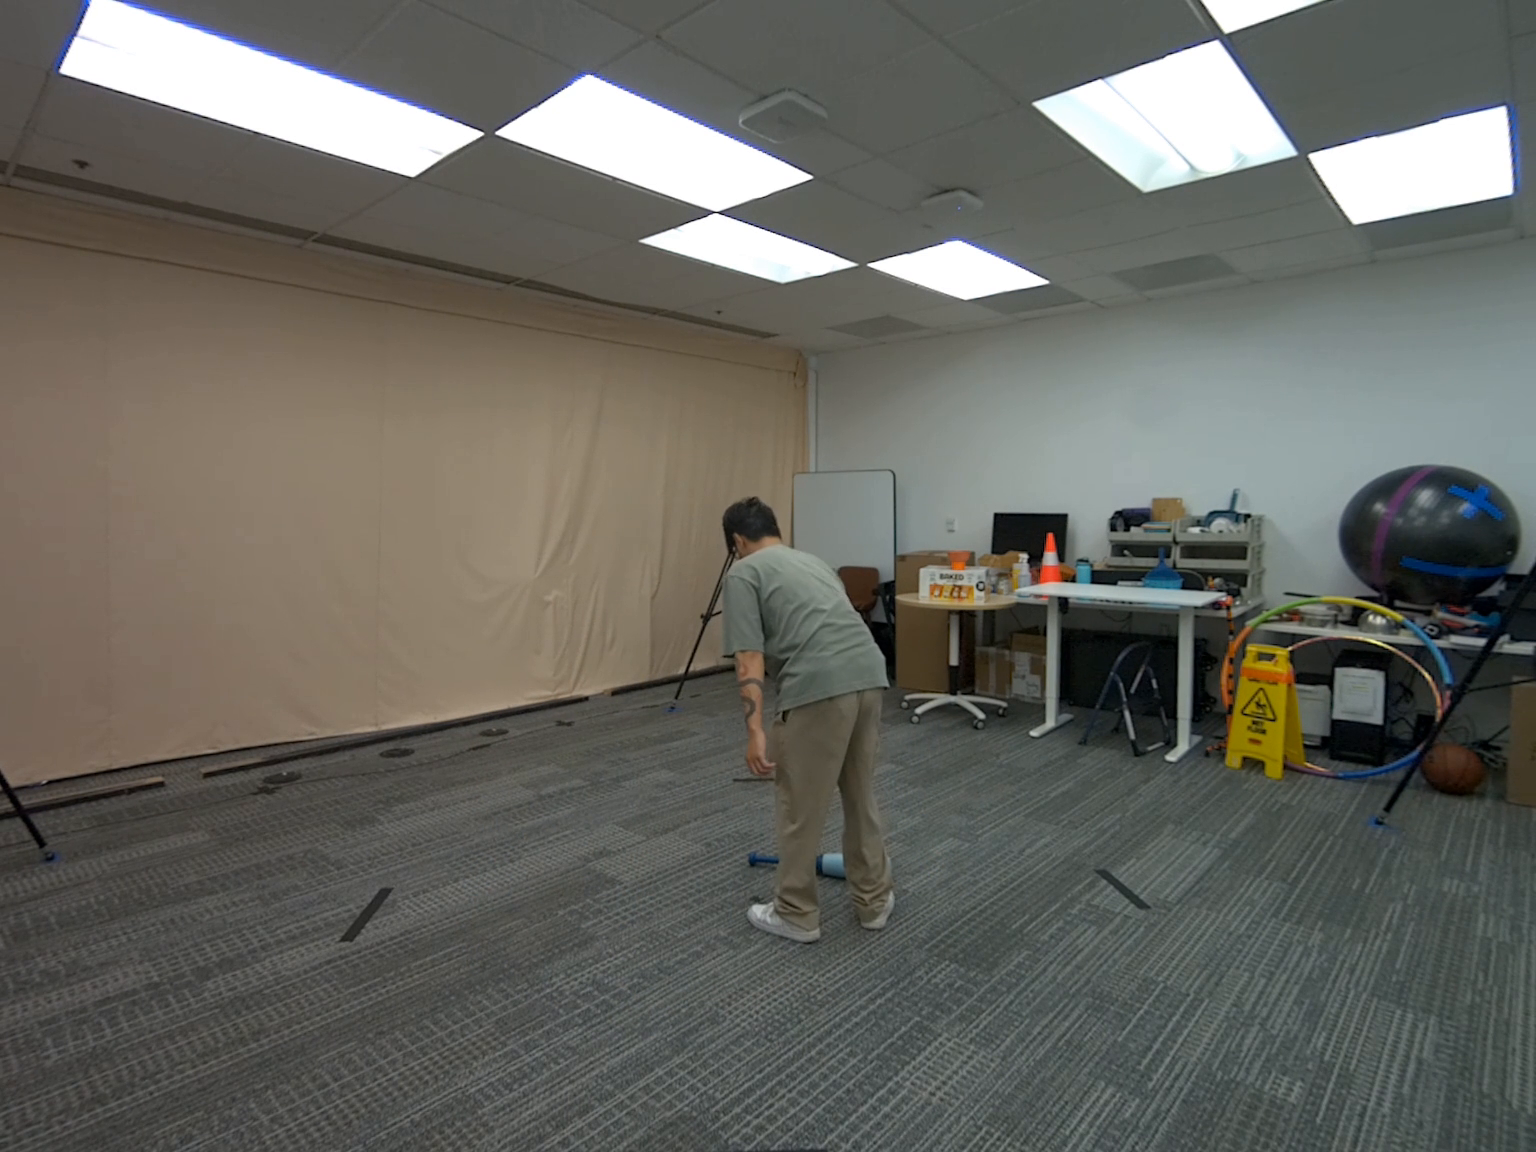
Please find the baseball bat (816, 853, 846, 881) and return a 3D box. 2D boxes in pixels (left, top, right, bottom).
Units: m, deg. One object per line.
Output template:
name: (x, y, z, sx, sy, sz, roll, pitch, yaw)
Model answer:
baseball bat: (0.195, 1.085, 3.180, 0.552, 0.089, 0.088, -1, 3, 16)
